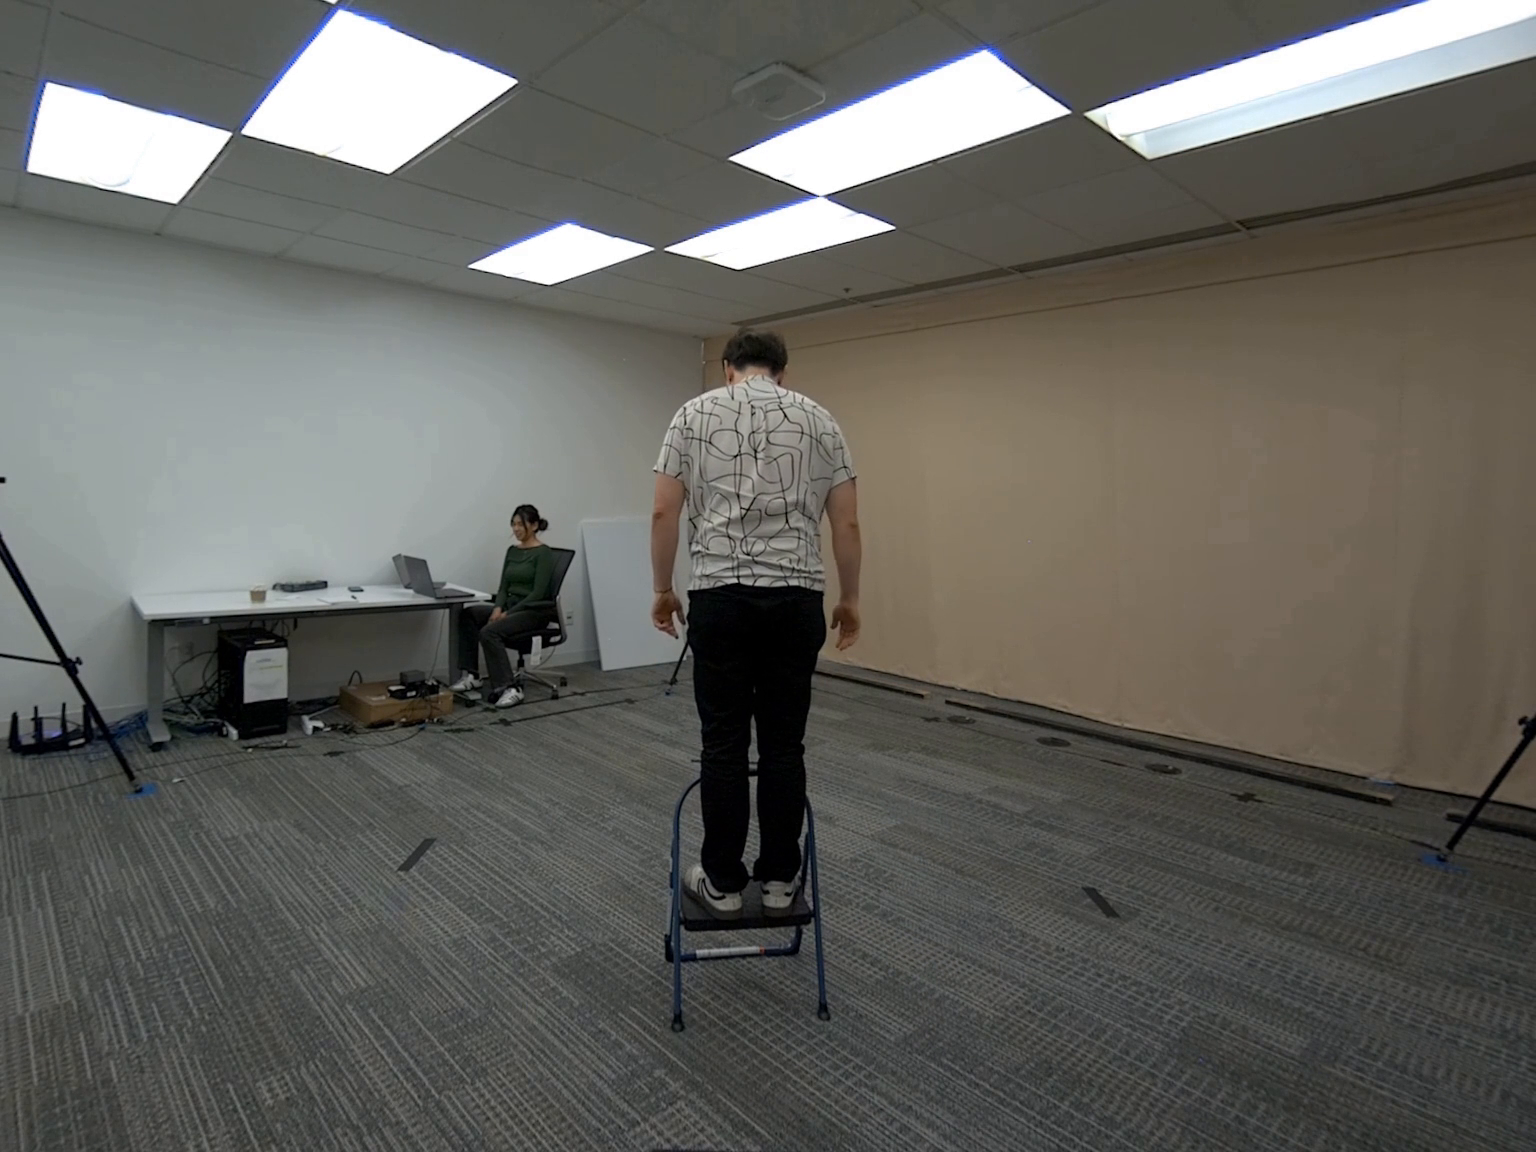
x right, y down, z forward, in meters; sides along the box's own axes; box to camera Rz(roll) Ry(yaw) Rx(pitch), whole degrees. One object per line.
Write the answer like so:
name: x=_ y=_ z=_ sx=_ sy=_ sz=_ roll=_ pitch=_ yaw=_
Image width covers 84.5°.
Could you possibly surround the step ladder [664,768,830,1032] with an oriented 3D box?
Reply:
step ladder: x=-0.072 y=0.873 z=2.375 sx=0.427 sy=0.604 sz=0.353 roll=0 pitch=4 yaw=-10
